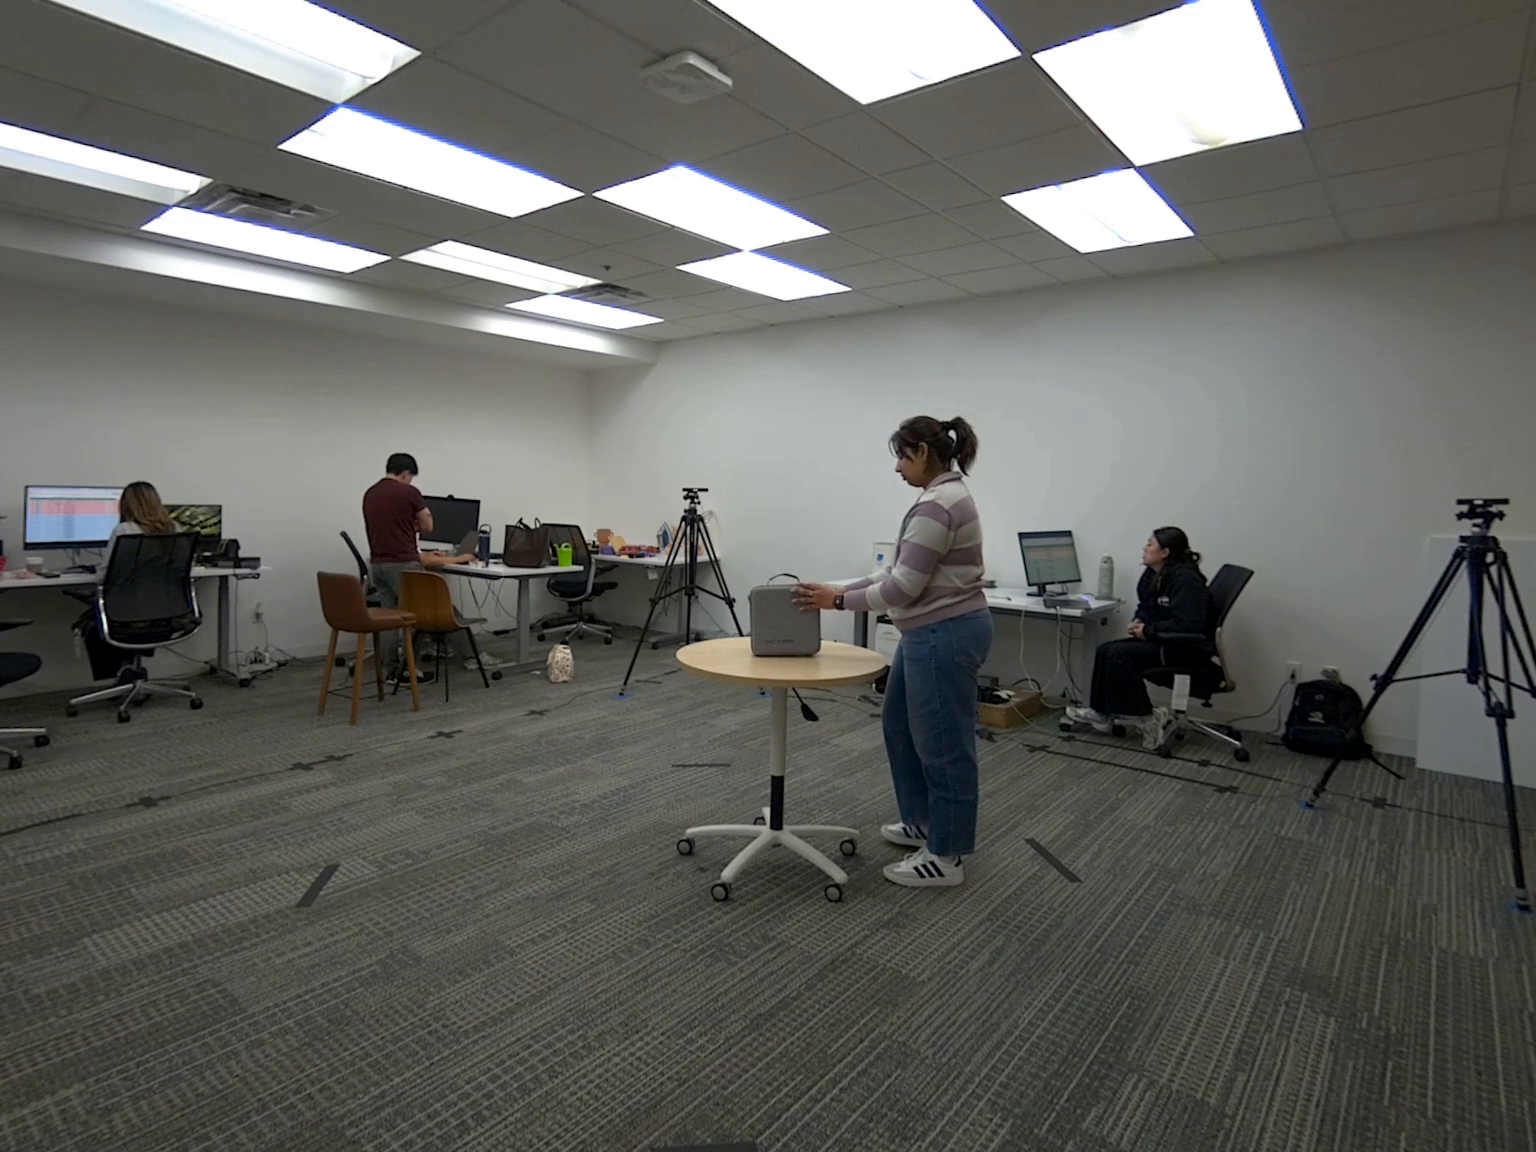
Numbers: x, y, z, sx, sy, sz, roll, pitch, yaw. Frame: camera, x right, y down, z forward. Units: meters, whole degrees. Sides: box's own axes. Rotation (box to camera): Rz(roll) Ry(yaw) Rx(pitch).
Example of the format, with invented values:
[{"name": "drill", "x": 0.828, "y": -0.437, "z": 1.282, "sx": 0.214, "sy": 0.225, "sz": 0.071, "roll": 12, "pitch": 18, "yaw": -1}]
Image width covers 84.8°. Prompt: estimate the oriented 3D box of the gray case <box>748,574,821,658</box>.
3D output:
[{"name": "gray case", "x": 0.048, "y": 0.158, "z": 3.141, "sx": 0.255, "sy": 0.261, "sz": 0.104, "roll": 1, "pitch": -3, "yaw": -5}]
